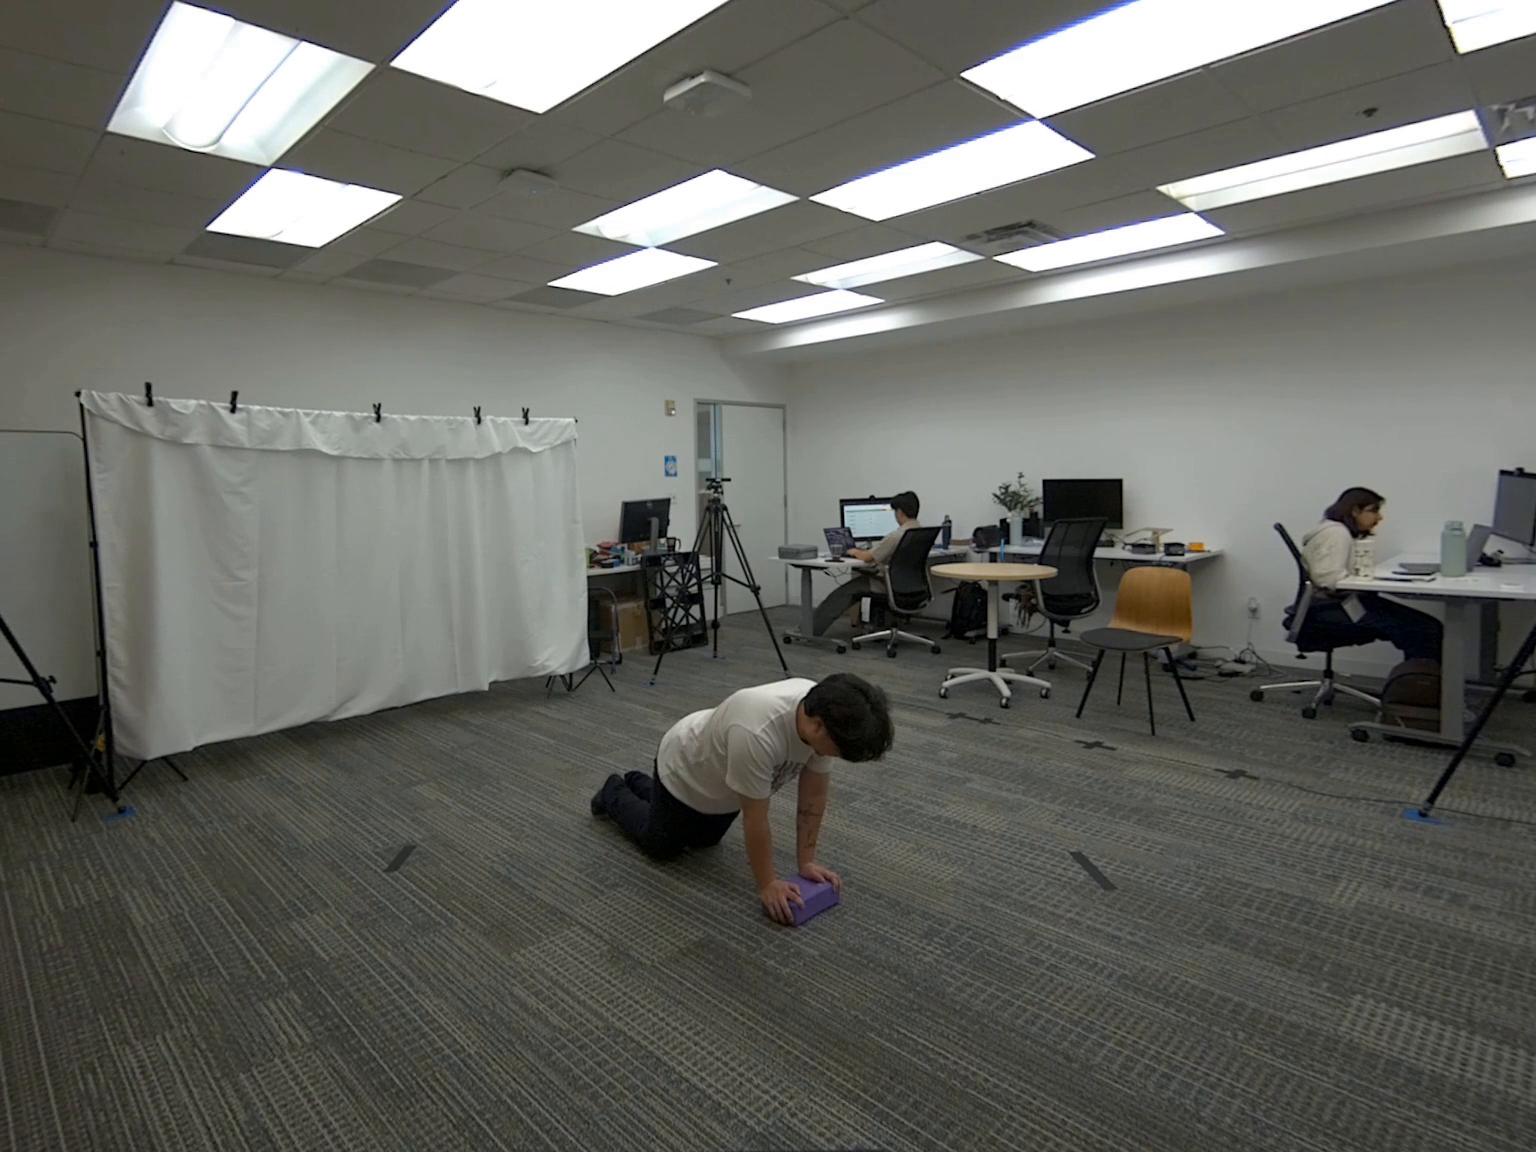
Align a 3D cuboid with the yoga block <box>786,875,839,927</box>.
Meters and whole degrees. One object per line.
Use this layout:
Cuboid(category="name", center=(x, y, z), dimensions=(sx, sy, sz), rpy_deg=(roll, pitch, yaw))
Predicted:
Cuboid(category="yoga block", center=(0.112, 1.046, 2.775), dimensions=(0.223, 0.076, 0.153), rpy_deg=(-8, 8, -44))
